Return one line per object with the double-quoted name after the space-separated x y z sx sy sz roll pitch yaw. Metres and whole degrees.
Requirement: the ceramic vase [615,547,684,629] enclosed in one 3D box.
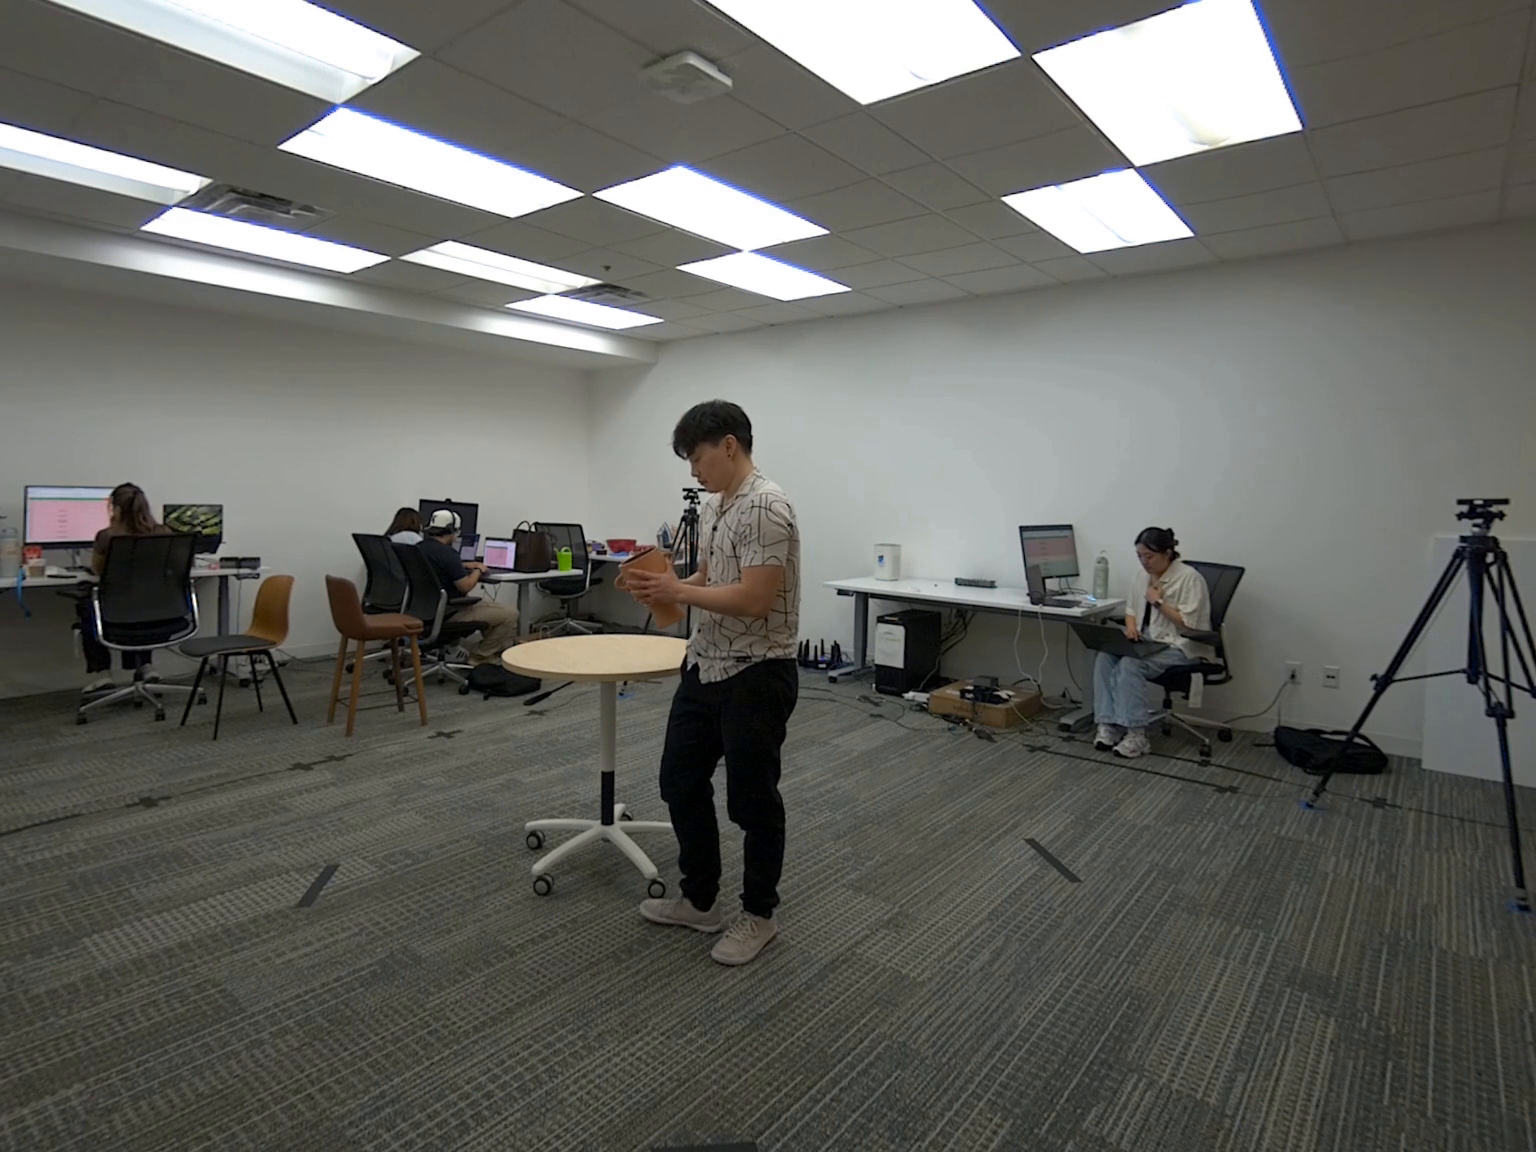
-0.343 0.030 2.542 0.161 0.218 0.134 -23 9 29 "ceramic vase"
